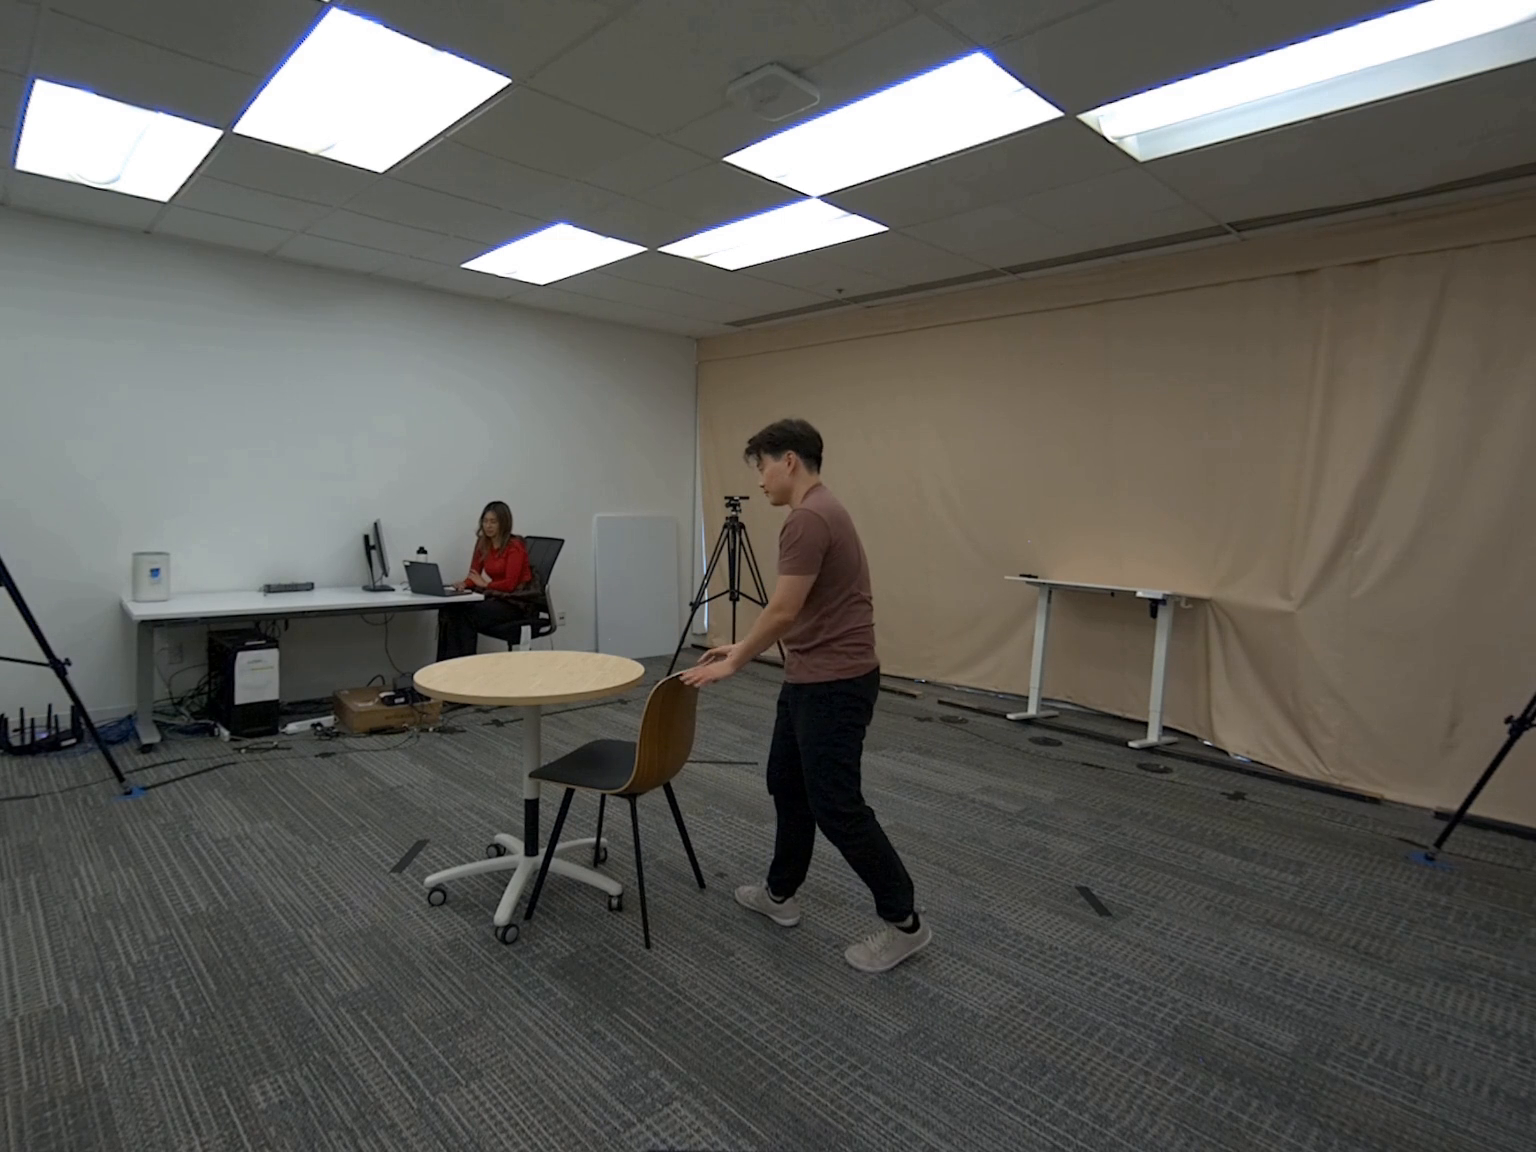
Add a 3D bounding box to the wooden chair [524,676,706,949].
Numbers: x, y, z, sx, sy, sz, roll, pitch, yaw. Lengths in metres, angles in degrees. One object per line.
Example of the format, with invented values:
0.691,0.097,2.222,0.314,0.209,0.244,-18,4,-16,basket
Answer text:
-0.505,0.688,2.842,0.532,0.874,0.471,7,6,21,wooden chair
